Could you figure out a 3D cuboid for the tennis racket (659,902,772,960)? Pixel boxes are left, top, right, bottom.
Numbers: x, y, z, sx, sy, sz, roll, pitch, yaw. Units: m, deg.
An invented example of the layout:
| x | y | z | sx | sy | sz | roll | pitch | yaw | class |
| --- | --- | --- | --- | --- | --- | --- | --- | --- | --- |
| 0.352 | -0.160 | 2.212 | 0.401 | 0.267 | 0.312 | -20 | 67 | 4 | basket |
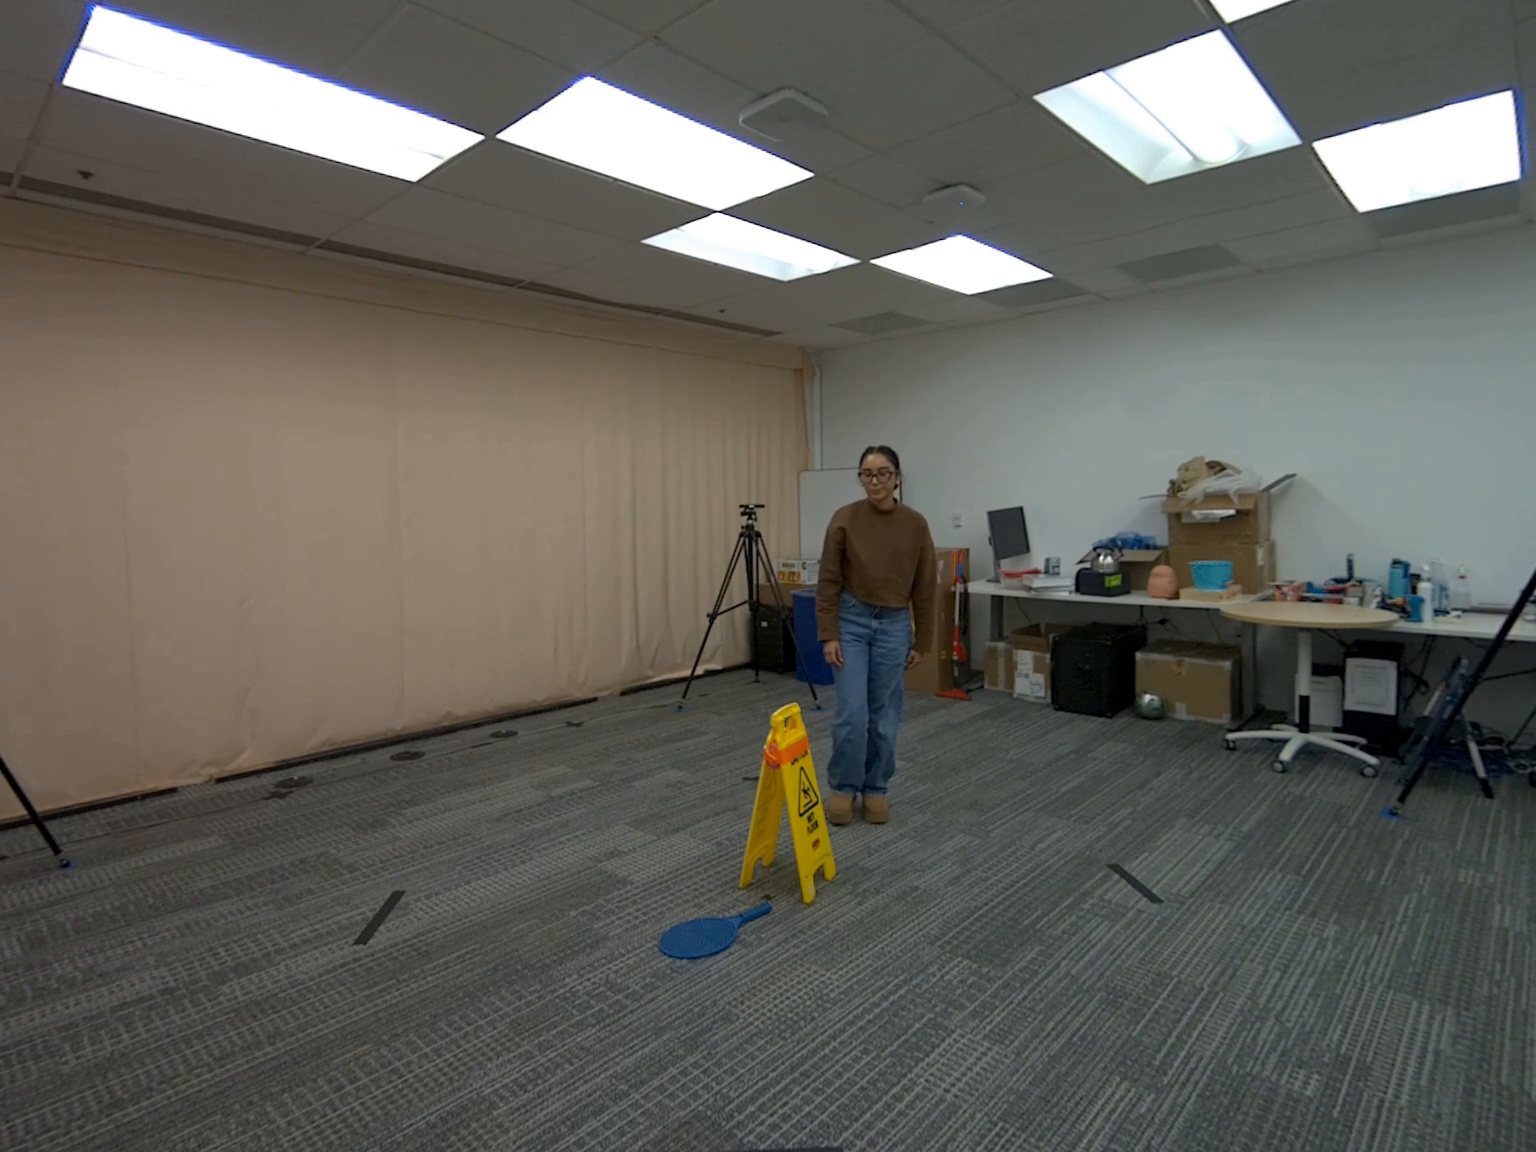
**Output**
| x | y | z | sx | sy | sz | roll | pitch | yaw | class |
| --- | --- | --- | --- | --- | --- | --- | --- | --- | --- |
| -0.158 | 1.149 | 2.751 | 0.420 | 0.031 | 0.221 | -7 | 7 | -39 | tennis racket |
